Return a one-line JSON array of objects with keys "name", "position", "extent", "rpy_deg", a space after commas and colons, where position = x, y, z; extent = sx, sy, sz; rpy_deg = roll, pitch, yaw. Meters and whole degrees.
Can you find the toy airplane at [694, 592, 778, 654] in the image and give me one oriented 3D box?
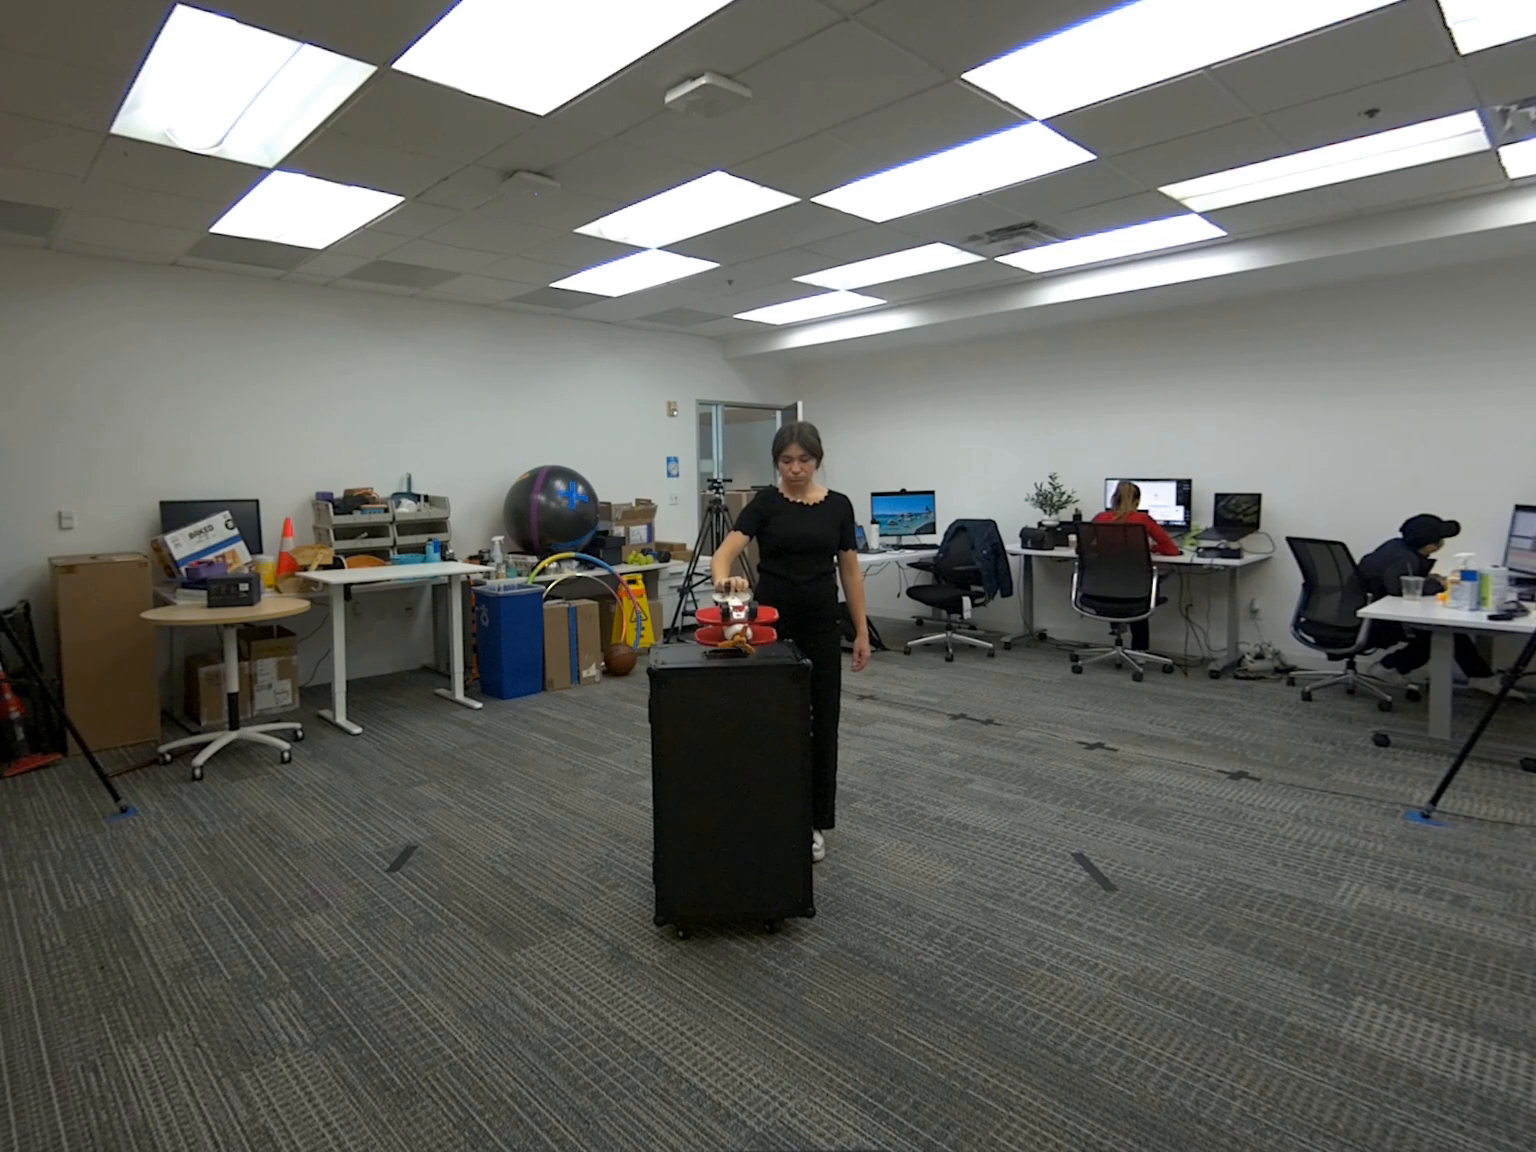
[{"name": "toy airplane", "position": [-0.078, 0.127, 2.665], "extent": [0.256, 0.154, 0.257], "rpy_deg": [9, 19, 19]}]
